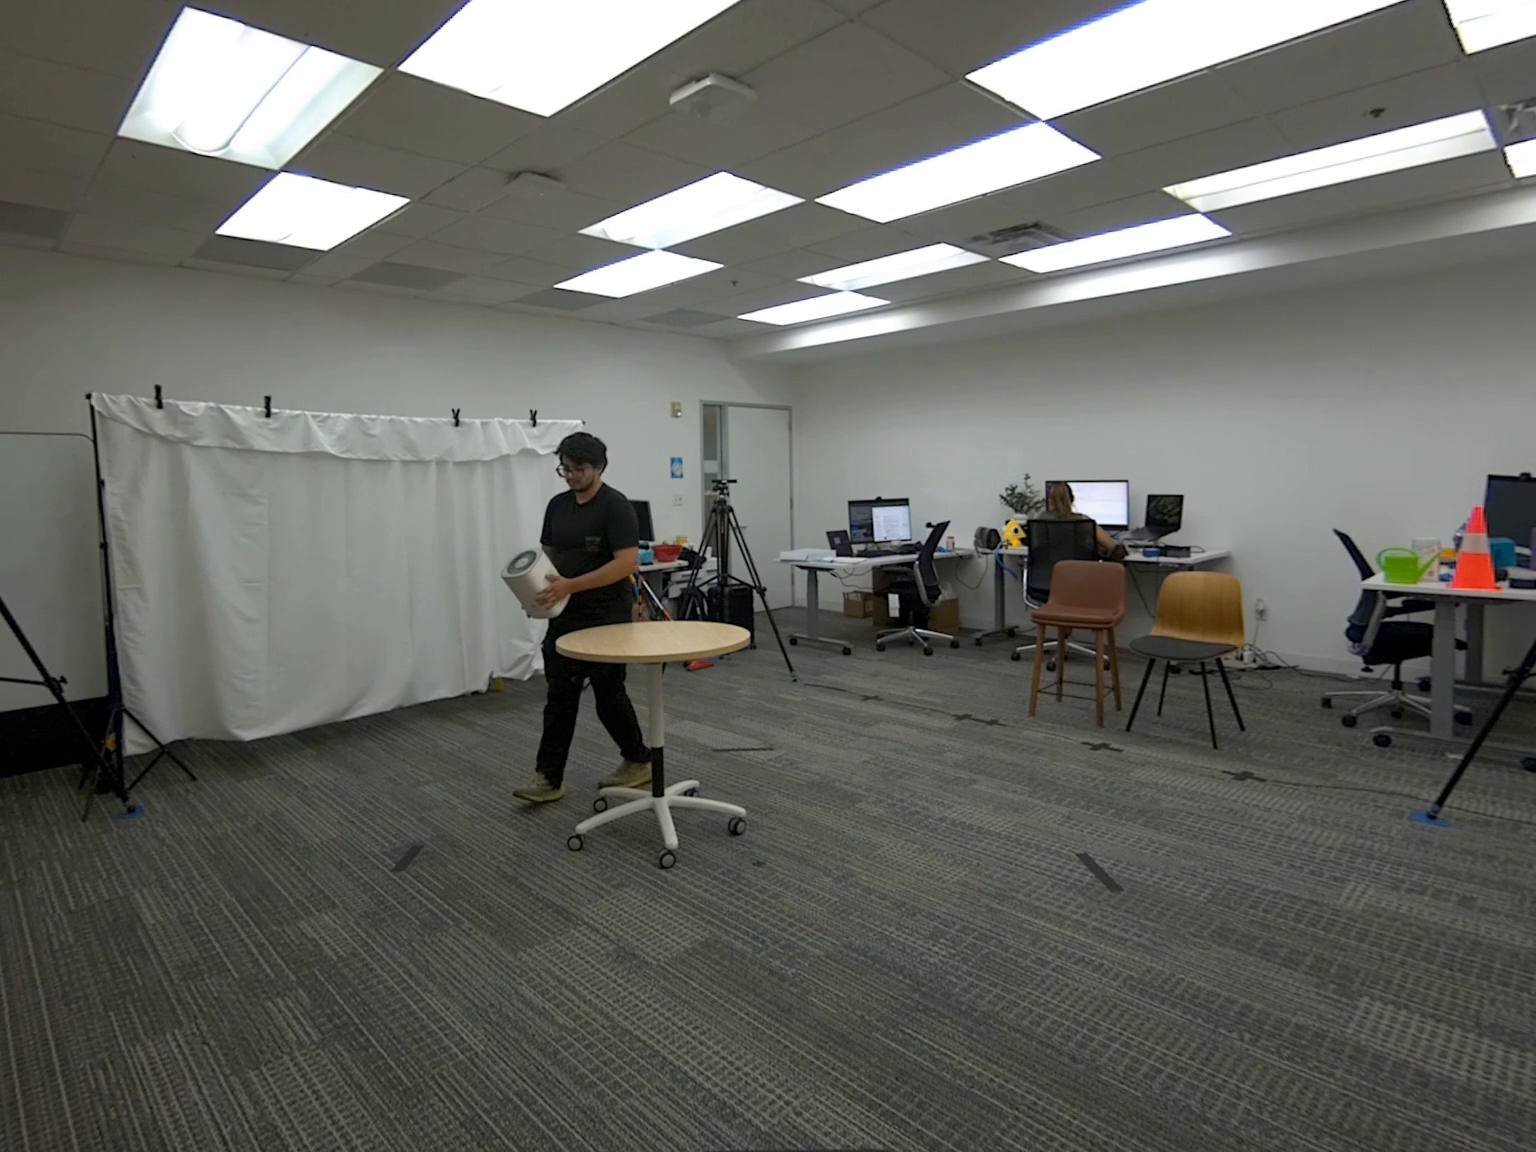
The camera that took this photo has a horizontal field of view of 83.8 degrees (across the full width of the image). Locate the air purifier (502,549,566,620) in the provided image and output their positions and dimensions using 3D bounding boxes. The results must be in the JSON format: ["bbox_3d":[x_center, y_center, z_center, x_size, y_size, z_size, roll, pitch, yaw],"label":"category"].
[{"bbox_3d":[-0.981,0.031,3.596,0.172,0.253,0.176,-5,40,29],"label":"air purifier"}]
